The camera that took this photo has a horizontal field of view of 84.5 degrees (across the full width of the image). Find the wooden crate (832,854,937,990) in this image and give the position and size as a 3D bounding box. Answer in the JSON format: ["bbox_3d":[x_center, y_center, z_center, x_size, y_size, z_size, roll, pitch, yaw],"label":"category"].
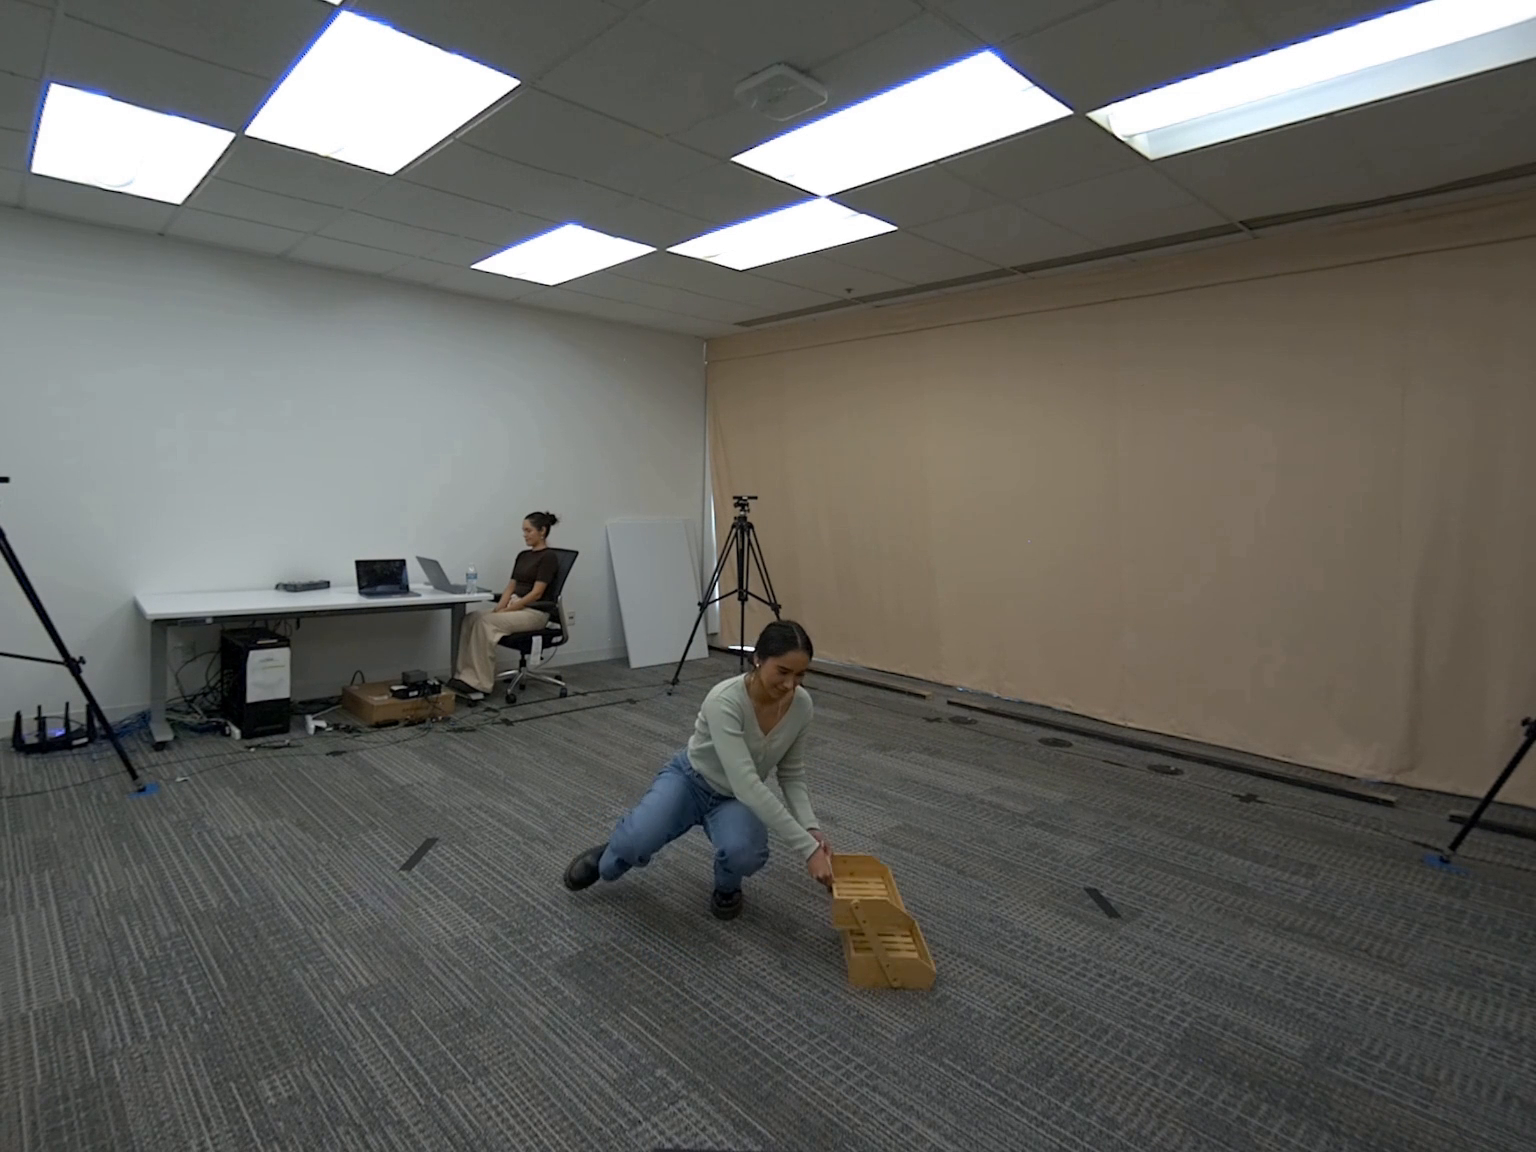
[{"bbox_3d":[0.322,1.034,2.545,0.302,0.272,0.325,1,5,0],"label":"wooden crate"}]
